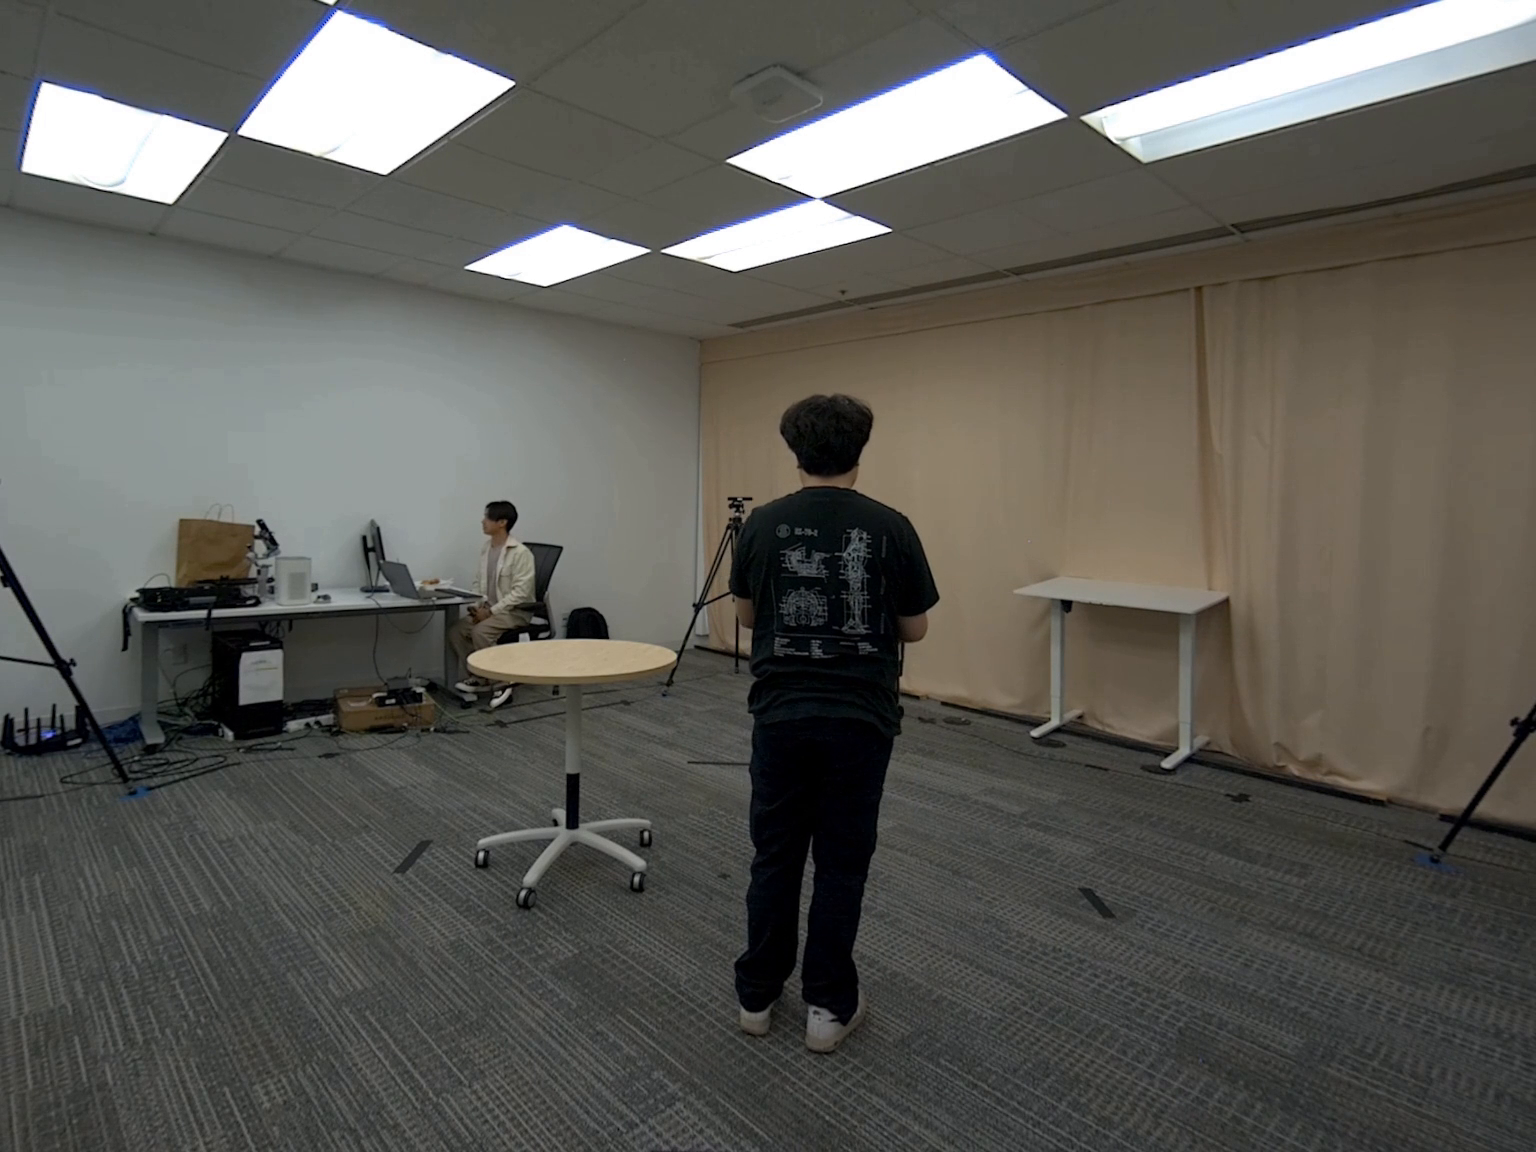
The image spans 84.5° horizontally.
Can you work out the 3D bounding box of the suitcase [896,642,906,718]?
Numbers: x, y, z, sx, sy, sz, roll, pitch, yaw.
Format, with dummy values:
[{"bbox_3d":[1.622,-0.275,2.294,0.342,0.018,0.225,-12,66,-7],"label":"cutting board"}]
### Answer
[{"bbox_3d":[0.233,0.198,2.605,0.380,0.547,0.246,3,5,15],"label":"suitcase"}]
